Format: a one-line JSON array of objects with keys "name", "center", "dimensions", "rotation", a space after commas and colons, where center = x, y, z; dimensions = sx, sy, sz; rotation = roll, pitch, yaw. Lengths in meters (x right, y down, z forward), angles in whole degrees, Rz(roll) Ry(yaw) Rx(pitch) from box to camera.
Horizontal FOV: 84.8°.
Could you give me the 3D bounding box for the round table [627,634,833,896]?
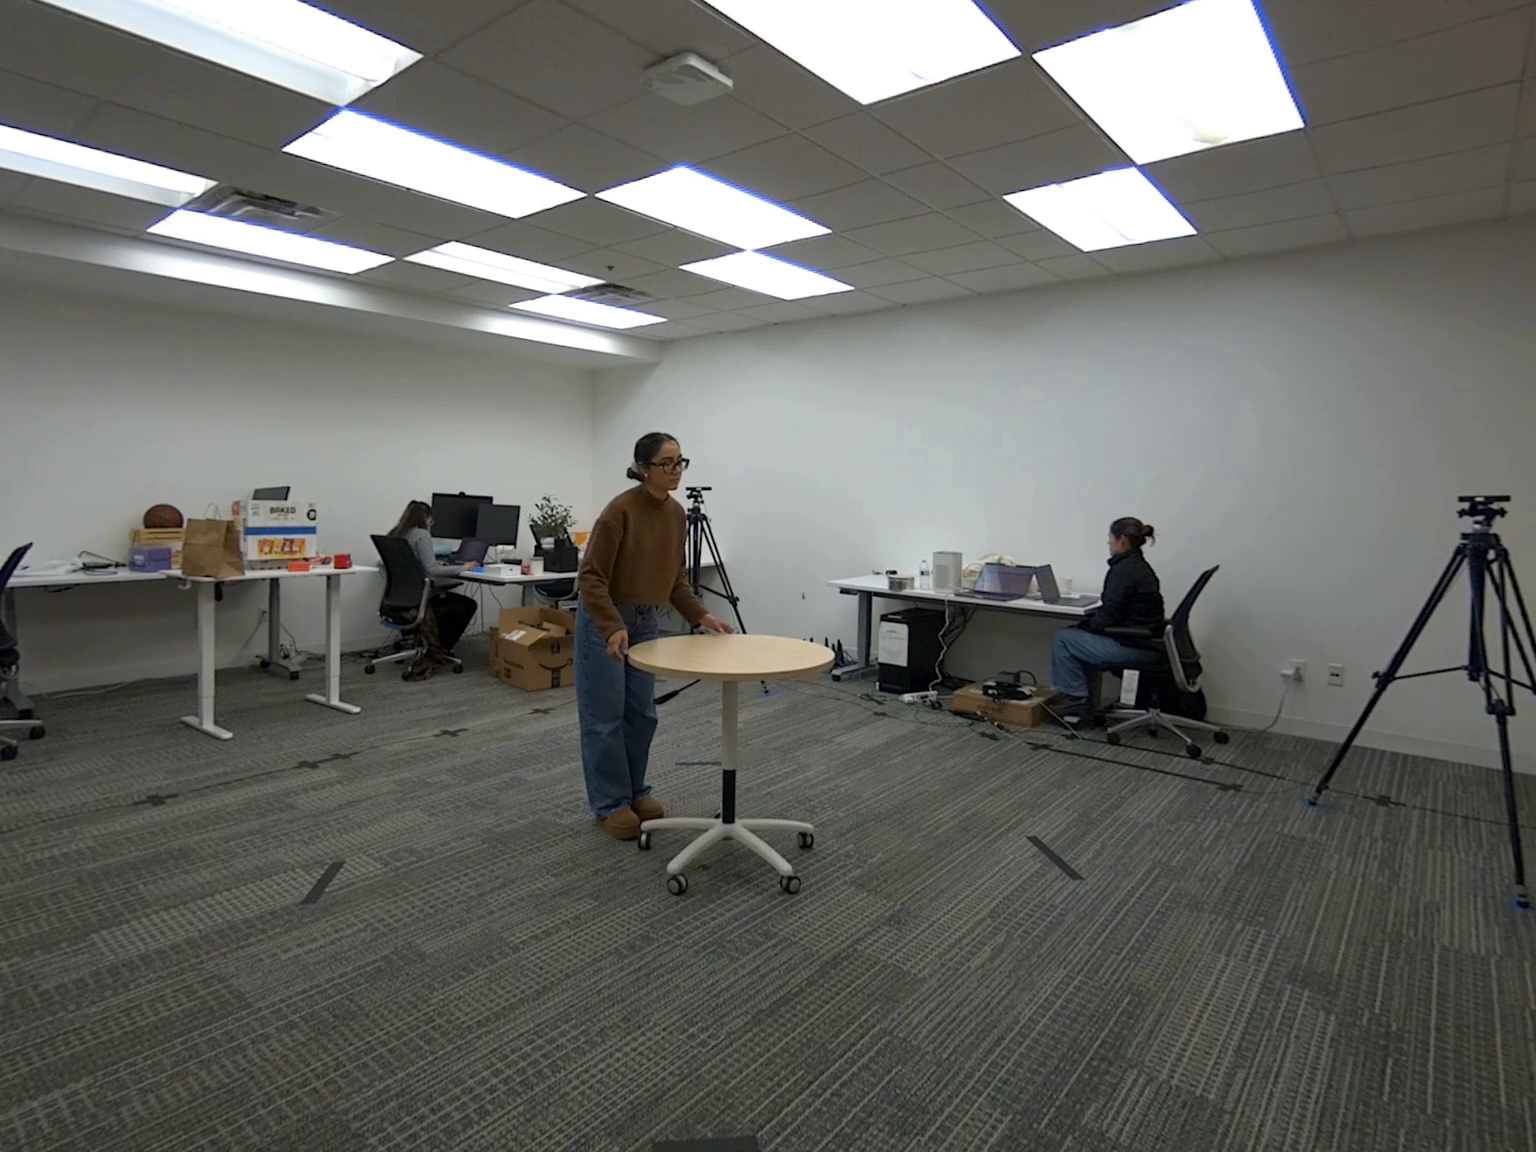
[{"name": "round table", "center": [-0.149, 0.670, 3.177], "dimensions": [0.763, 0.791, 0.767], "rotation": [0, 4, -2]}]
